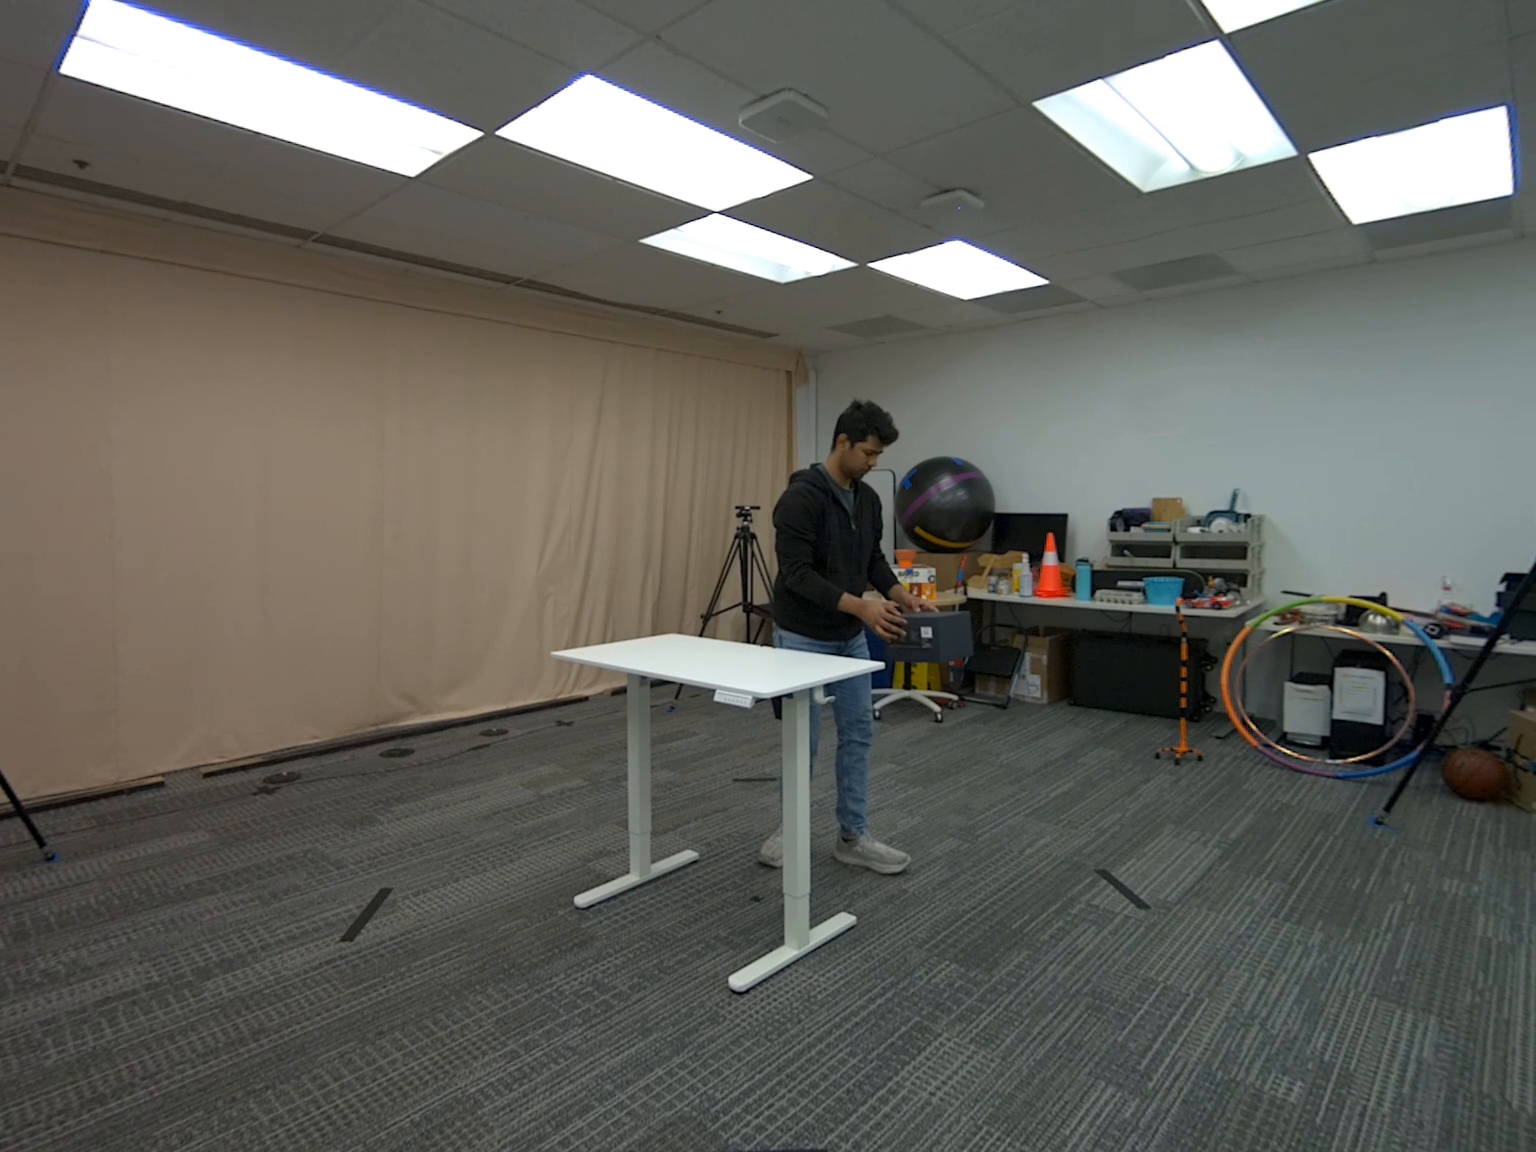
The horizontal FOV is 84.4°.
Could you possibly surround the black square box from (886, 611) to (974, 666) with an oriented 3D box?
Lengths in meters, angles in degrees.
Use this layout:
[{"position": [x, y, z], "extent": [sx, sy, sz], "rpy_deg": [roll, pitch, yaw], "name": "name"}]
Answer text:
[{"position": [0.555, 0.226, 2.931], "extent": [0.224, 0.156, 0.221], "rpy_deg": [-3, 1, 43], "name": "black square box"}]
